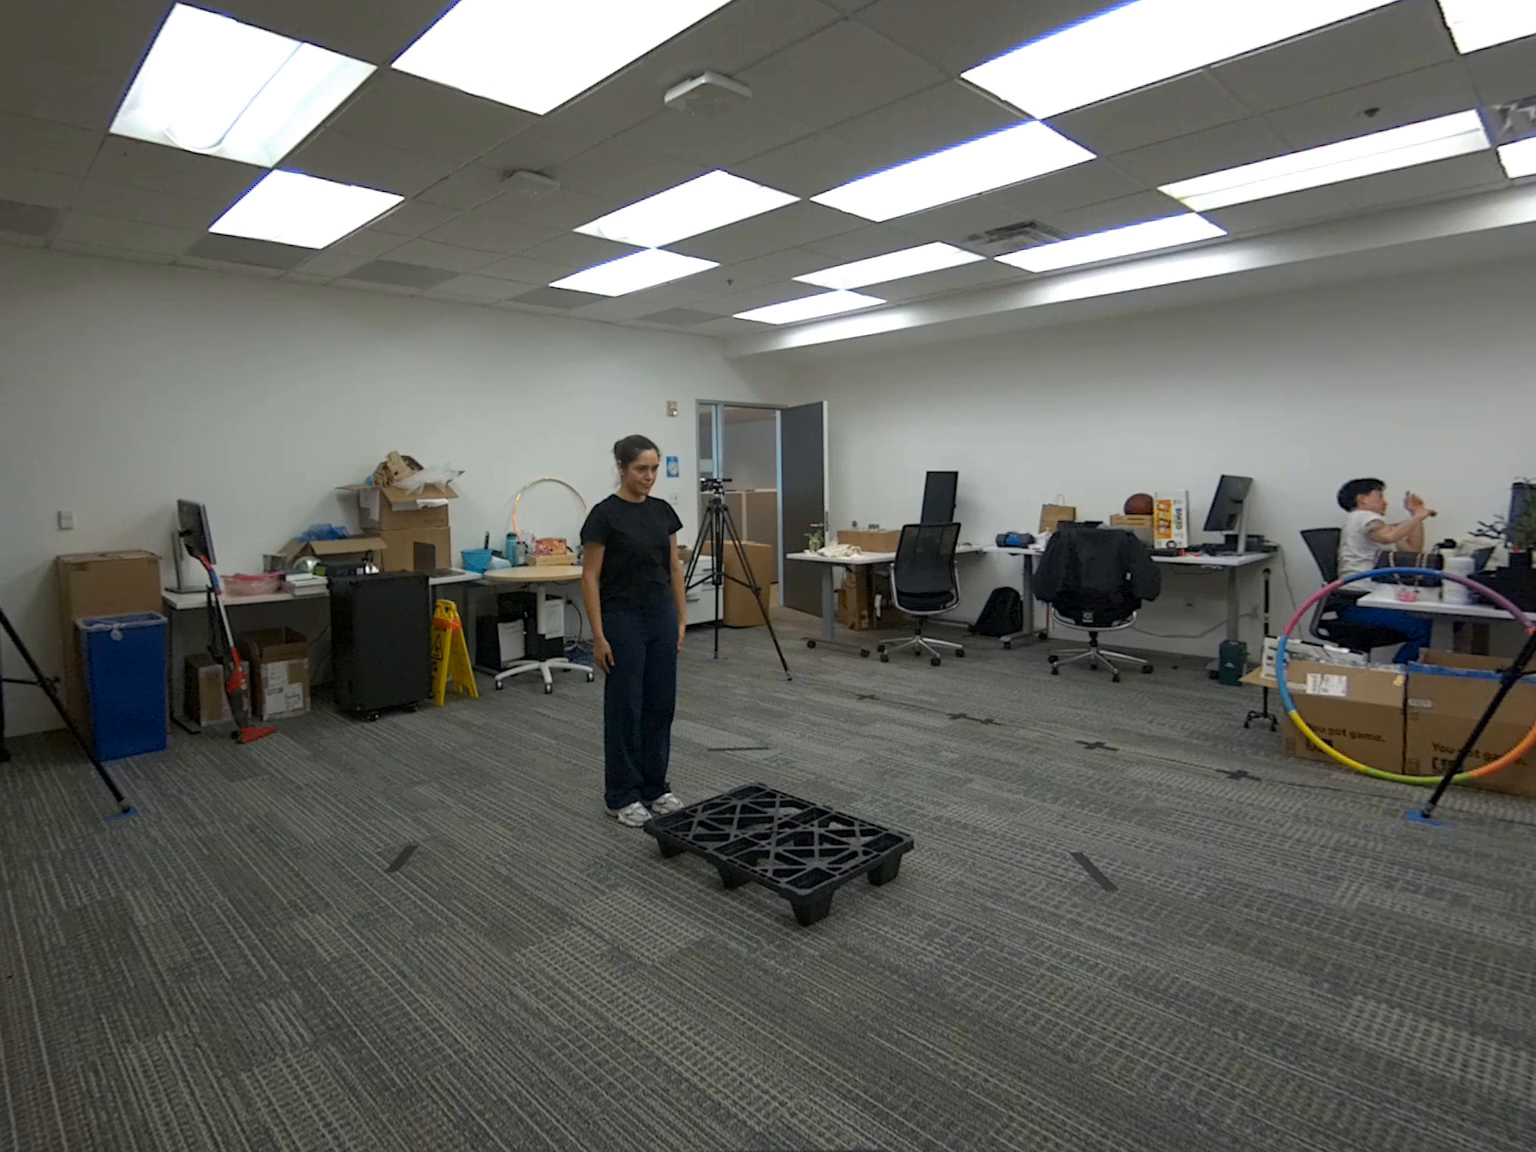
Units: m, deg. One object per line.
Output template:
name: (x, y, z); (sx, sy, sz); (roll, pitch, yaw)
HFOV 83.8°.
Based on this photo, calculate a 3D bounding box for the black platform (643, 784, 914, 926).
black platform: (0.023, 0.981, 3.091); (0.589, 0.143, 0.831); (-6, 8, -44)
